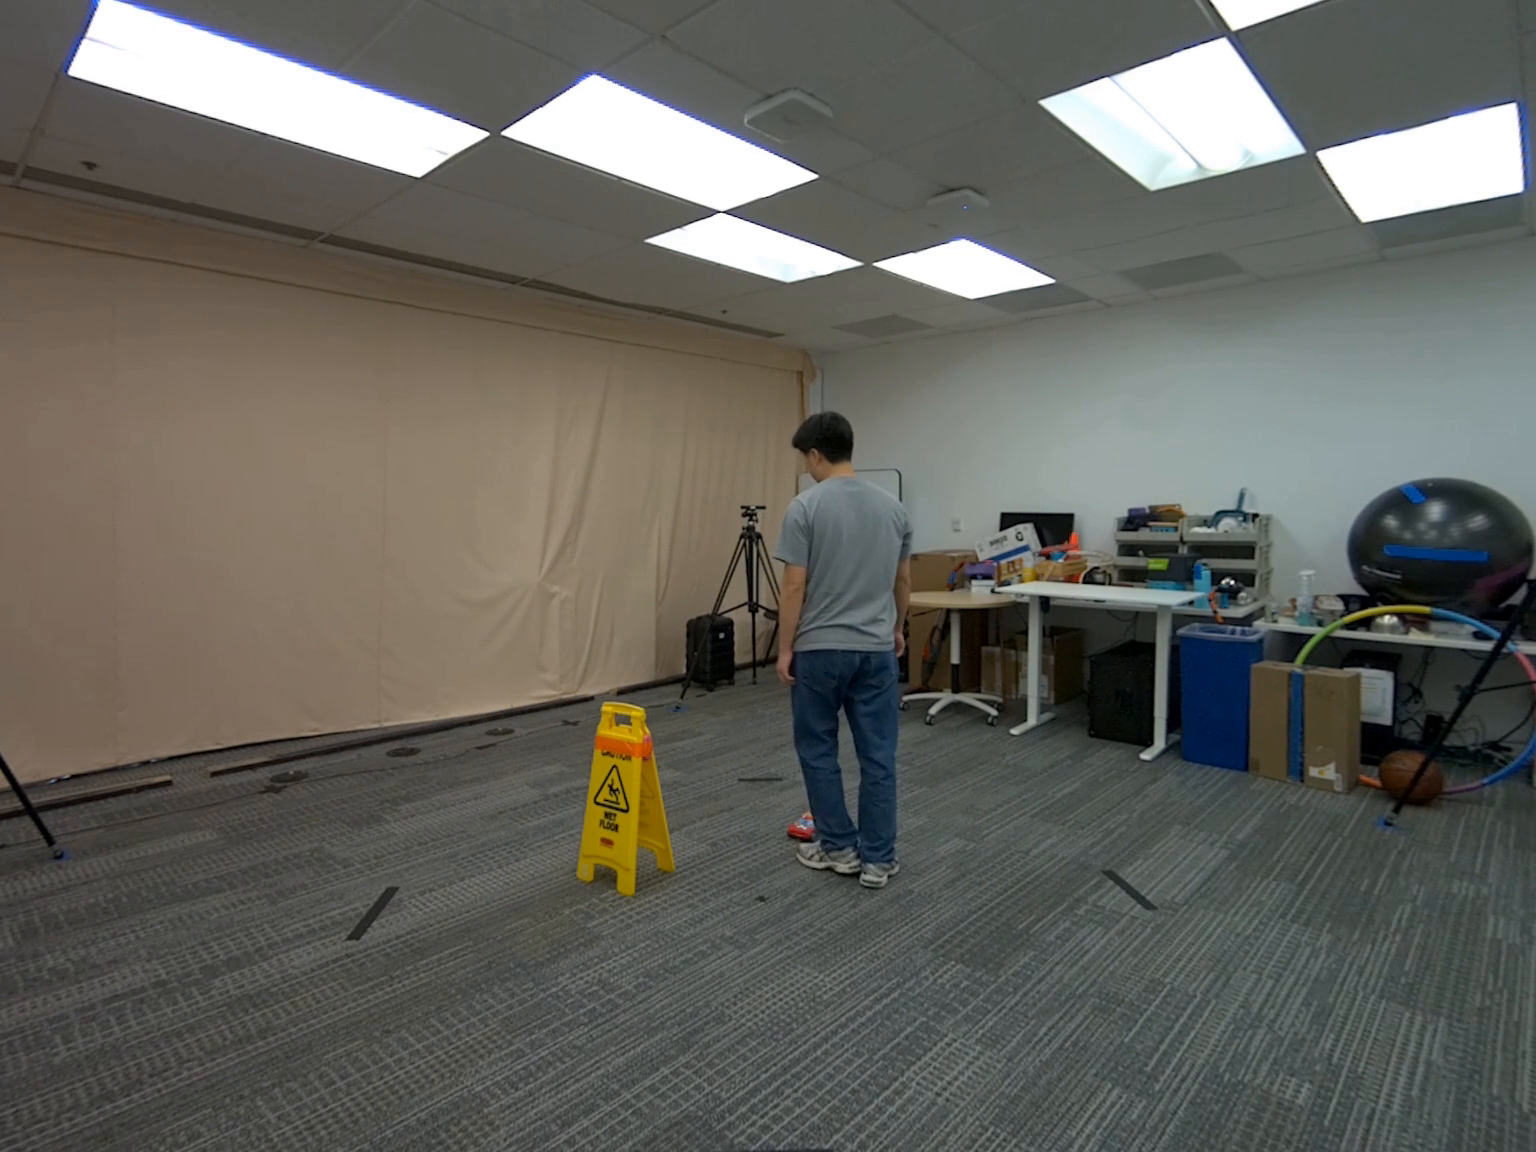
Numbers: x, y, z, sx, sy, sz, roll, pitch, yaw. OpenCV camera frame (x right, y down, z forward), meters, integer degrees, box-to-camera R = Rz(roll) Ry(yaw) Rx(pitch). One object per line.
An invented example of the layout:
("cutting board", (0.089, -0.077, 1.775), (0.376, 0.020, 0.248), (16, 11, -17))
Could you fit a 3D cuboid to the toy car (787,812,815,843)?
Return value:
("toy car", (0.188, 1.060, 3.598), (0.134, 0.082, 0.249), (1, 15, 30))
